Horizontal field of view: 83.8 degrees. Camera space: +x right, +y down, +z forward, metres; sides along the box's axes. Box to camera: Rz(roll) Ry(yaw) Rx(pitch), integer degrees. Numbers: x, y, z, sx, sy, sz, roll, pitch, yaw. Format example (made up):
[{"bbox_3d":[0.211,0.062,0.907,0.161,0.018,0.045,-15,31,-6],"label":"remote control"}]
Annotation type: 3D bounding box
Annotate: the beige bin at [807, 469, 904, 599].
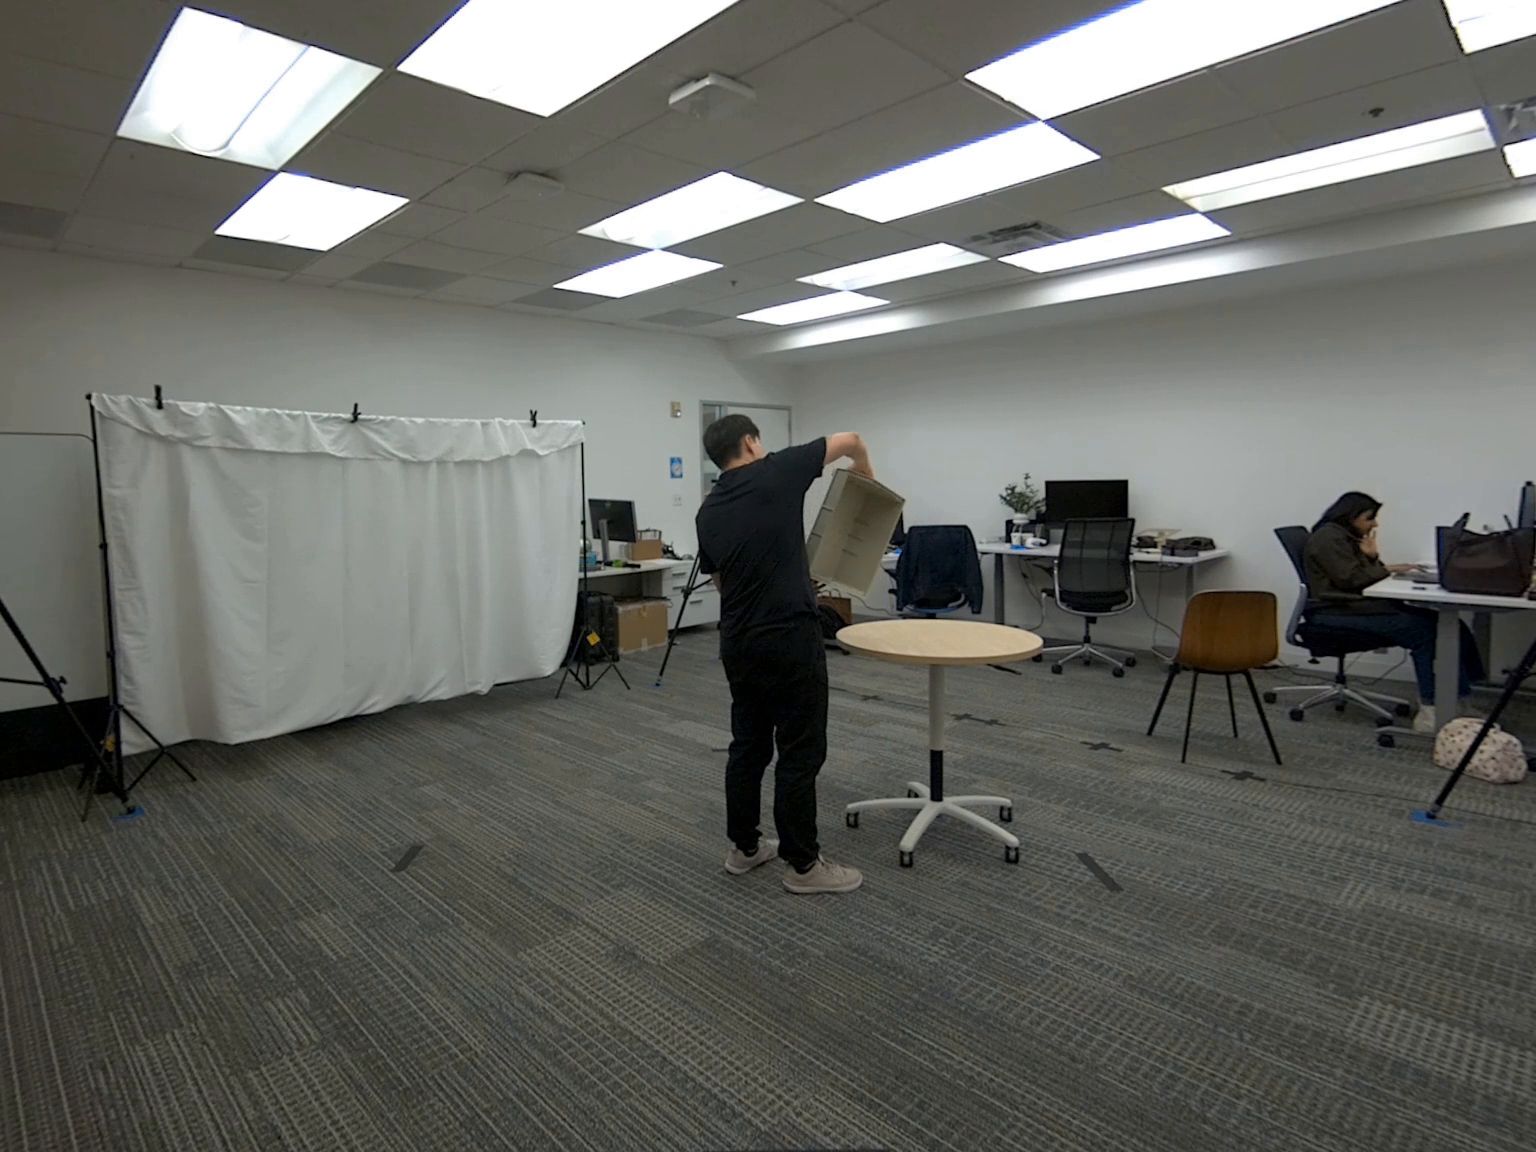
[{"bbox_3d":[0.314,-0.162,3.260,0.195,0.422,0.366,21,1,27],"label":"beige bin"}]
